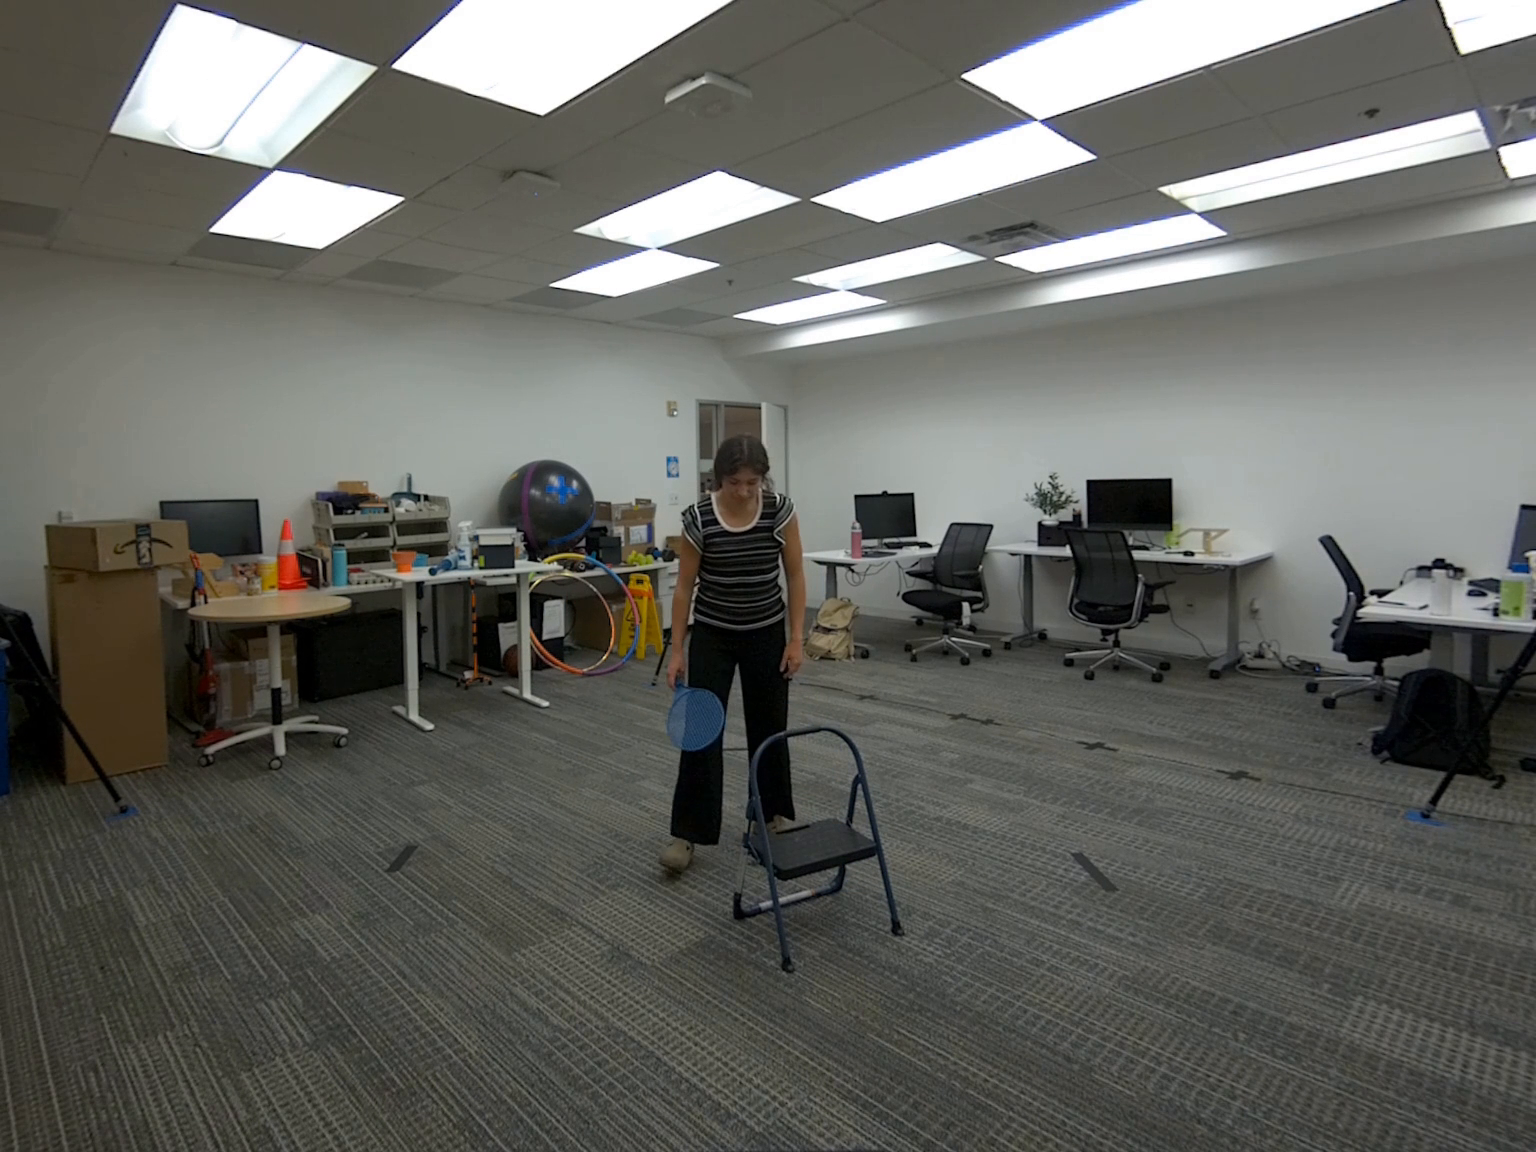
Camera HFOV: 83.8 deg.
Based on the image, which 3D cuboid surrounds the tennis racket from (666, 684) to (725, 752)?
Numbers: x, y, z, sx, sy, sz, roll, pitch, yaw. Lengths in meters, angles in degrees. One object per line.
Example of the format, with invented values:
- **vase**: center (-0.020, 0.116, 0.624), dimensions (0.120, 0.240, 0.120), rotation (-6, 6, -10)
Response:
- **tennis racket**: center (-0.283, 0.458, 3.031), dimensions (0.213, 0.030, 0.449), rotation (-36, 39, -2)
